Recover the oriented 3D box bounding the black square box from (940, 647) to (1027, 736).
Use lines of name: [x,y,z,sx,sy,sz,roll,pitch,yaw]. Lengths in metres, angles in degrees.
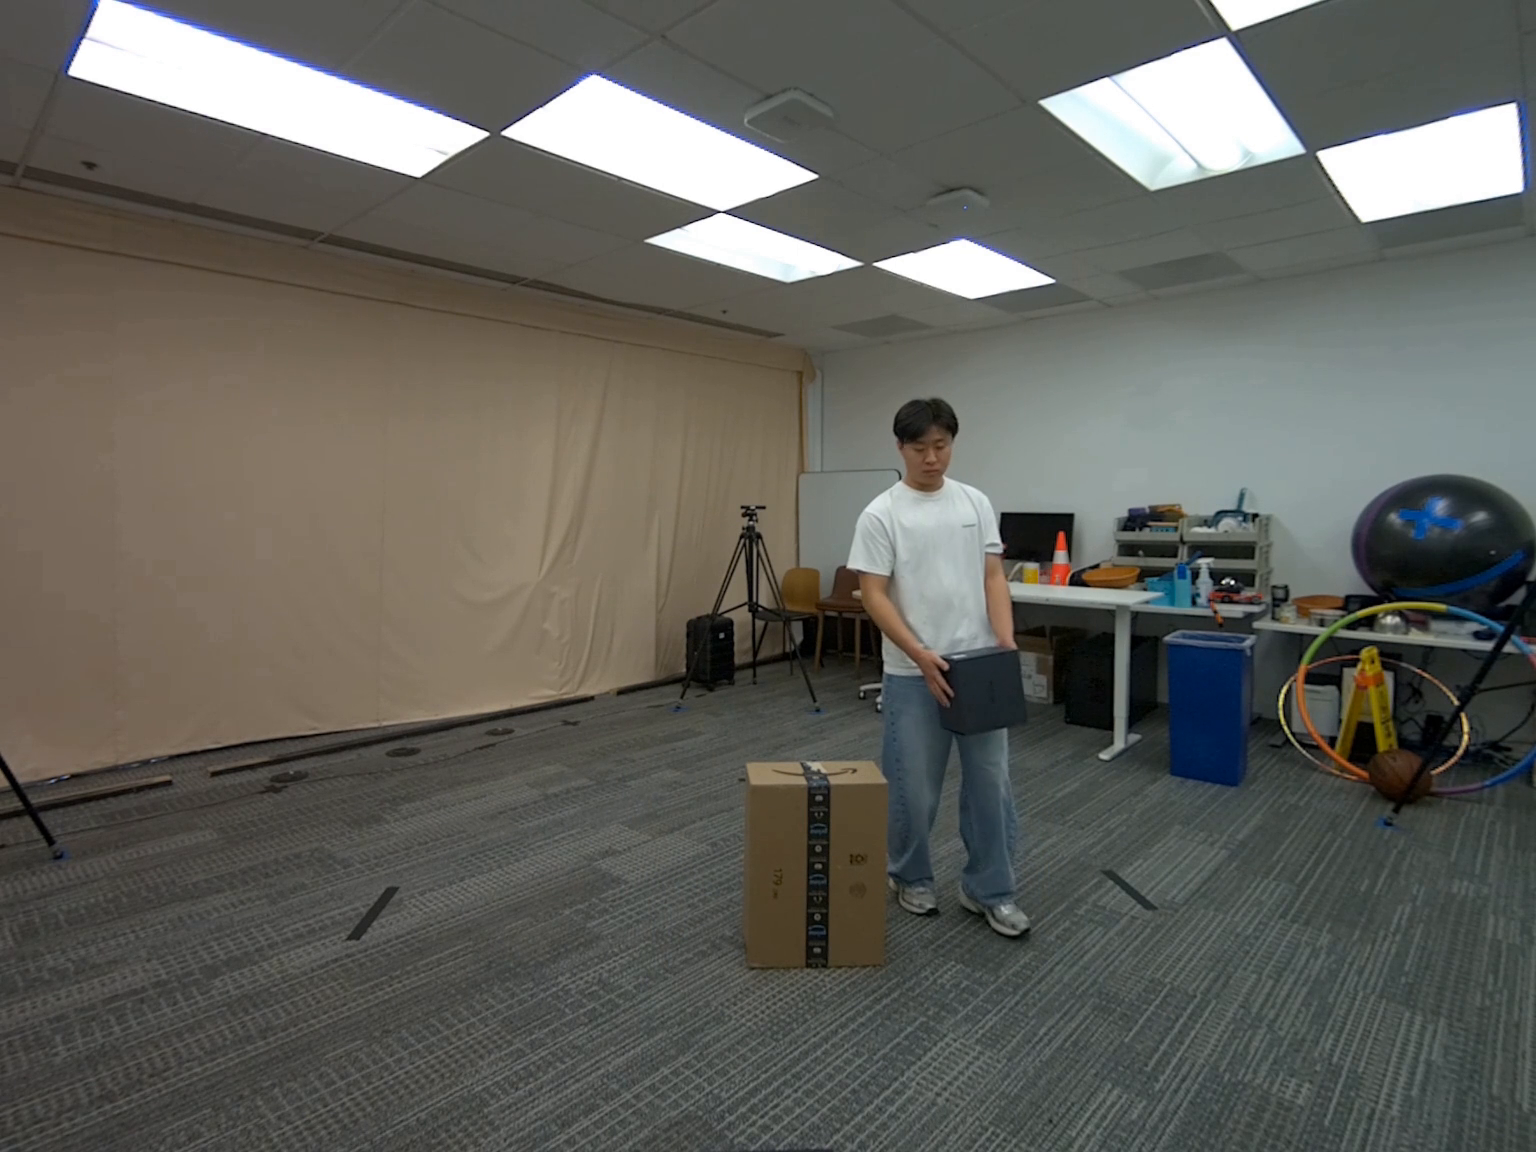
black square box: [0.664,0.353,2.604,0.214,0.228,0.158,-9,0,-13]
